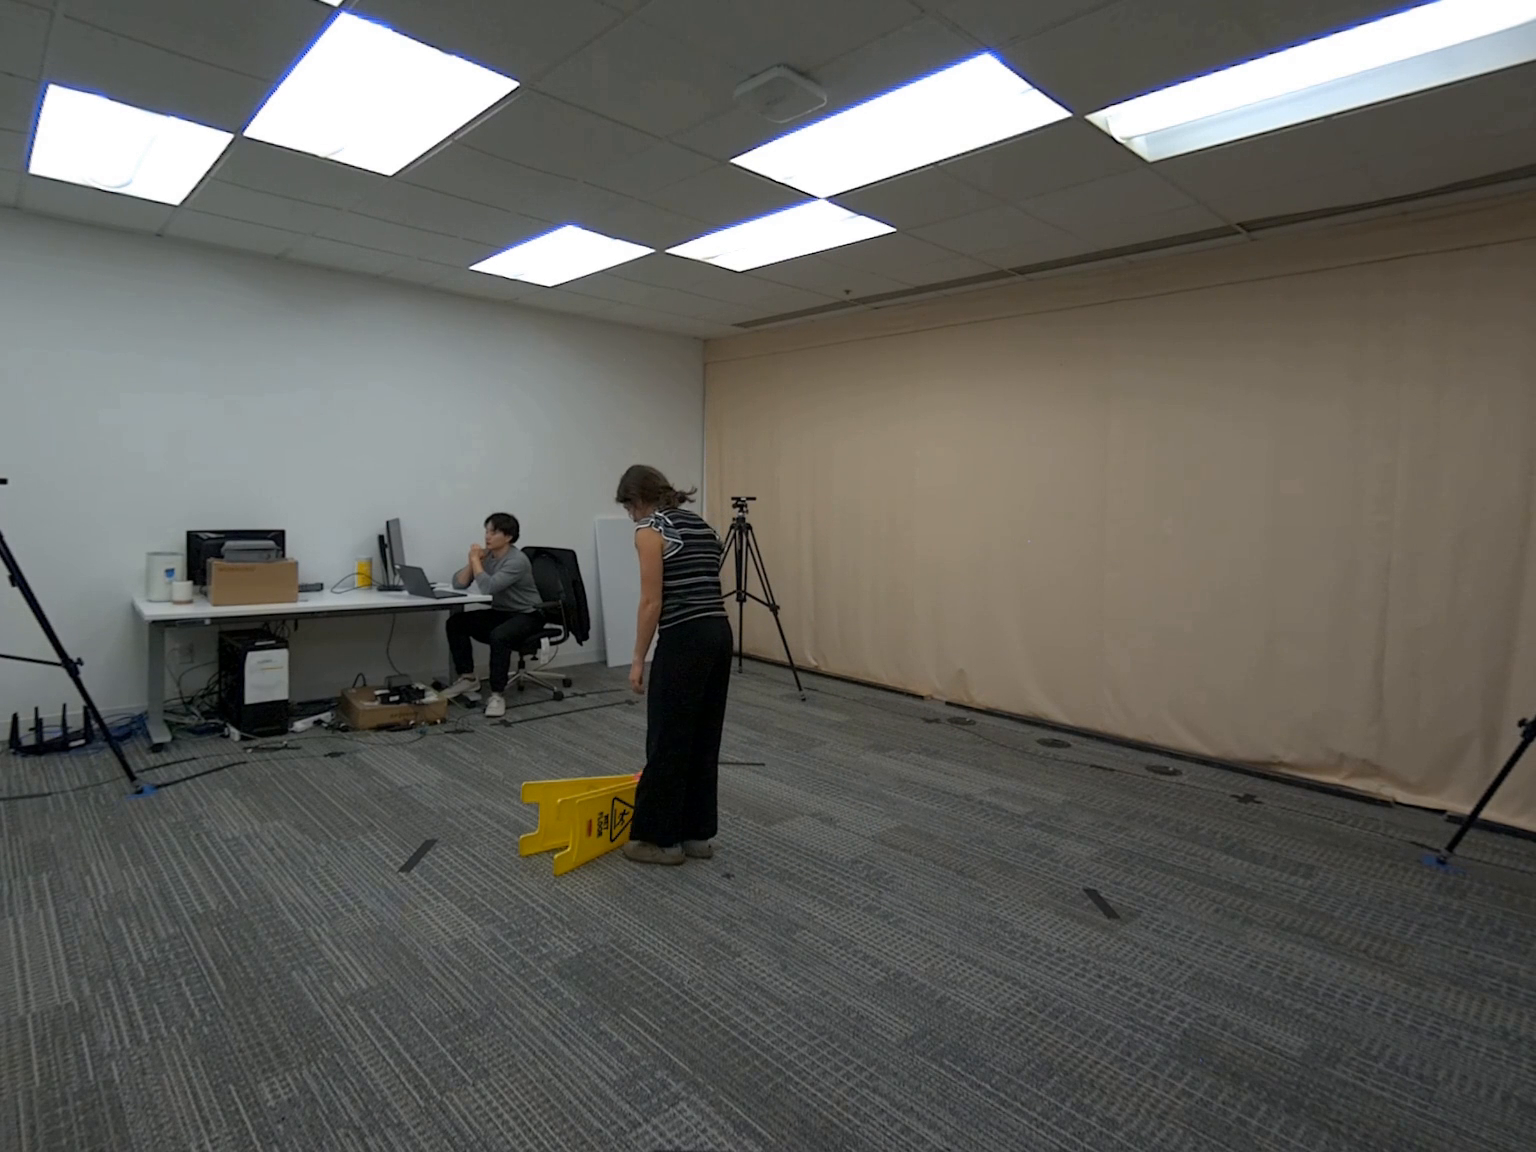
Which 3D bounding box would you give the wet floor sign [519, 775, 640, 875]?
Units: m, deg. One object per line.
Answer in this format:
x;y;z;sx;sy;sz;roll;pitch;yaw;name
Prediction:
-0.657;0.947;3.379;0.297;0.282;0.630;4;2;42;wet floor sign
